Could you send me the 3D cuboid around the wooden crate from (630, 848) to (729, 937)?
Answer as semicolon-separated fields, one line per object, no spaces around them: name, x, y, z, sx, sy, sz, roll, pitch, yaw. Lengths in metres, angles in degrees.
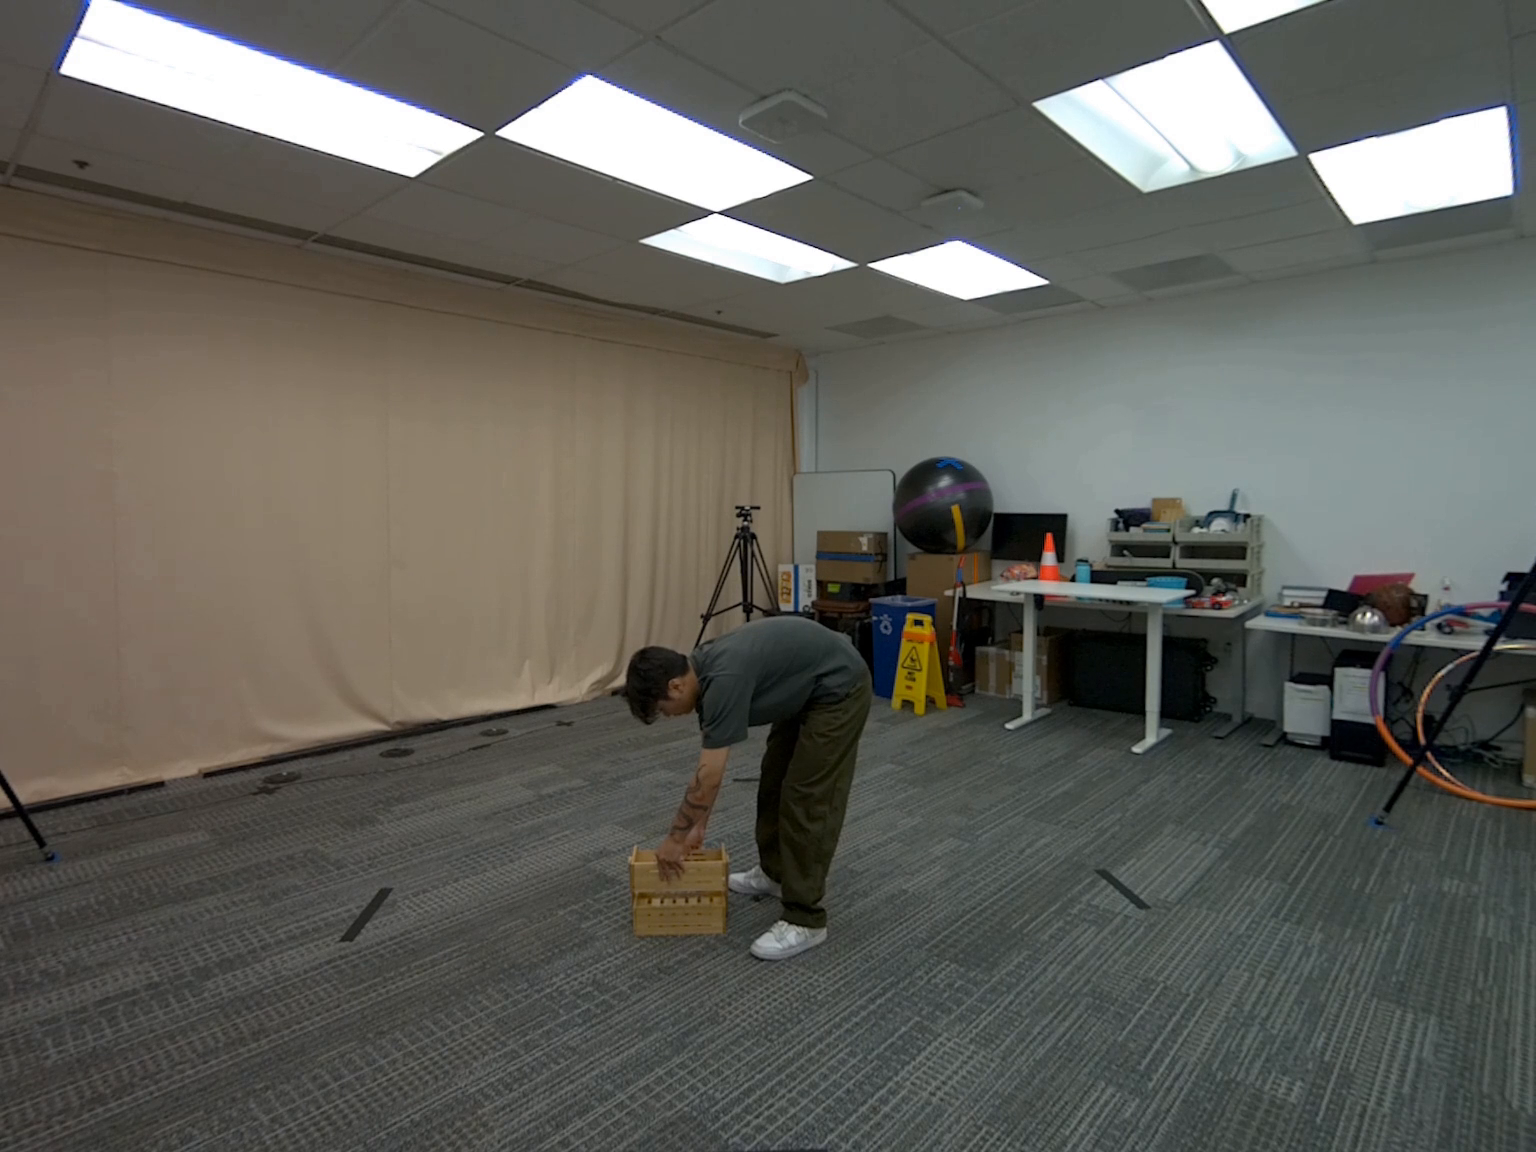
wooden crate;-0.301;1.029;2.835;0.324;0.272;0.304;-2;5;-2
